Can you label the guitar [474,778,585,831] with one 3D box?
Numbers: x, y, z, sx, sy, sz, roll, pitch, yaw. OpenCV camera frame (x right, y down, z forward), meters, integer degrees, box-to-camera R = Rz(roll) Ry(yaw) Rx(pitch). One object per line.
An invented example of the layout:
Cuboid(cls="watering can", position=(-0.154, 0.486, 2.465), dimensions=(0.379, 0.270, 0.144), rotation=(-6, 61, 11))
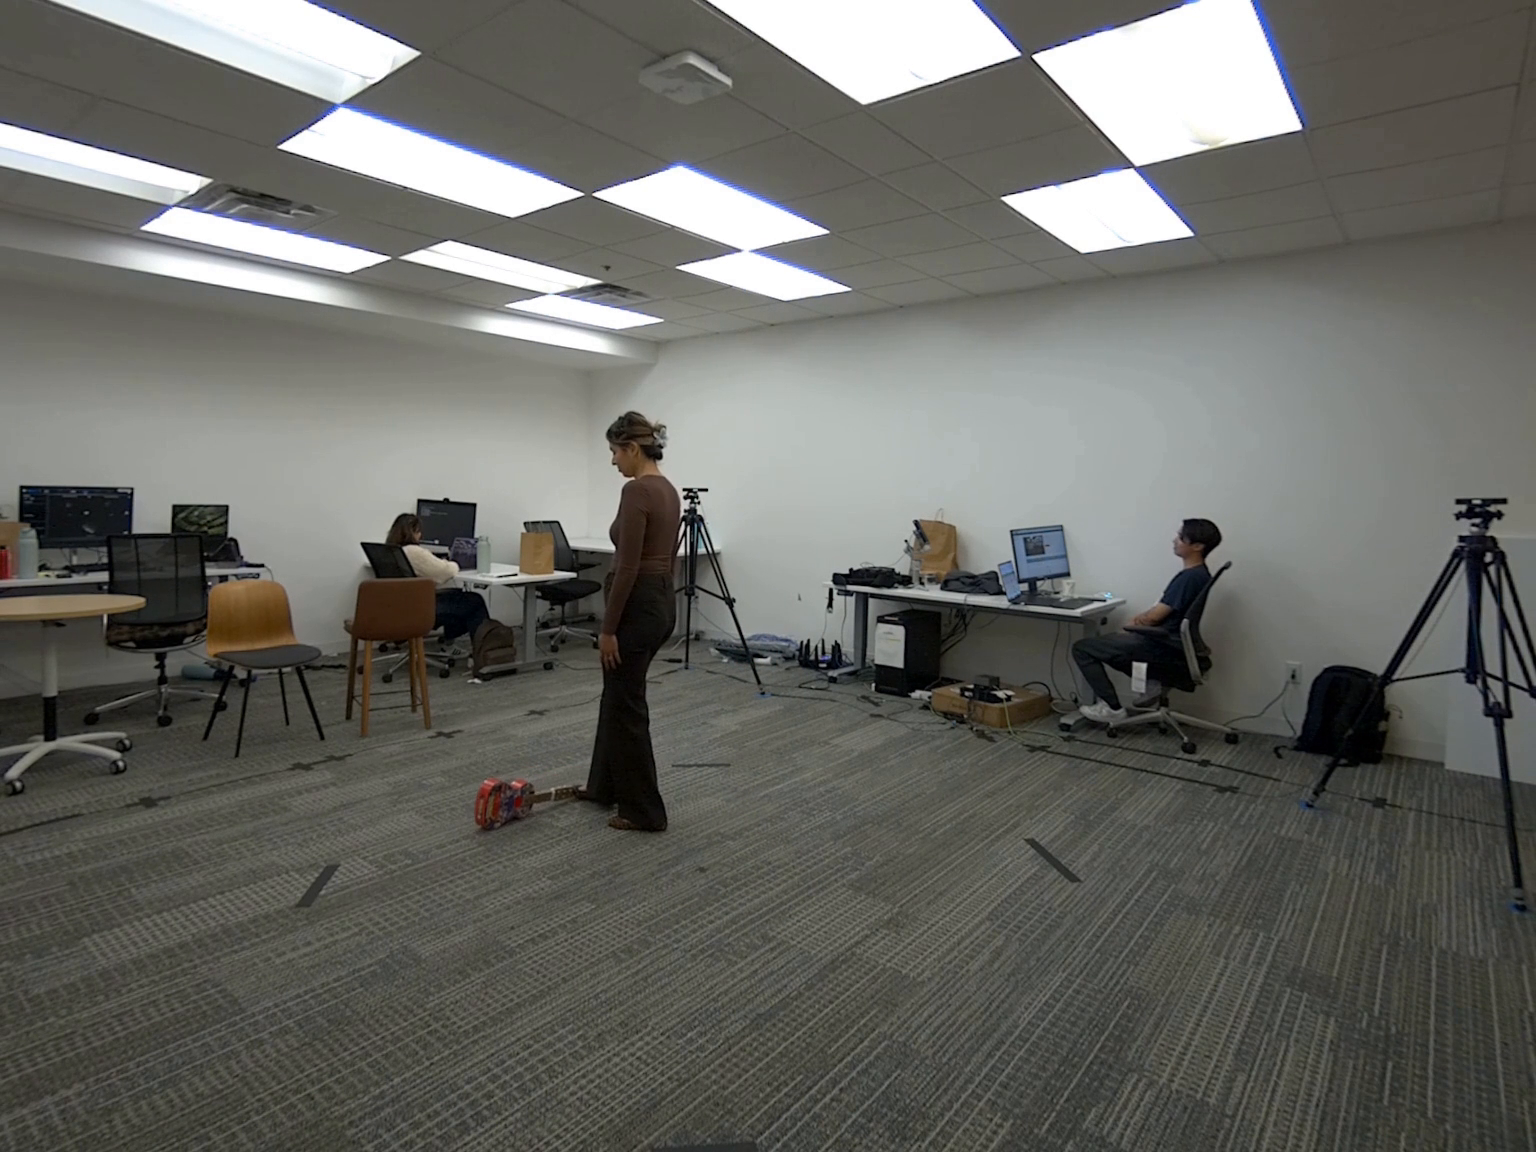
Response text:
Cuboid(cls="guitar", position=(-1.041, 0.968, 3.605), dimensions=(0.073, 0.194, 0.479), rotation=(7, -9, 34))
